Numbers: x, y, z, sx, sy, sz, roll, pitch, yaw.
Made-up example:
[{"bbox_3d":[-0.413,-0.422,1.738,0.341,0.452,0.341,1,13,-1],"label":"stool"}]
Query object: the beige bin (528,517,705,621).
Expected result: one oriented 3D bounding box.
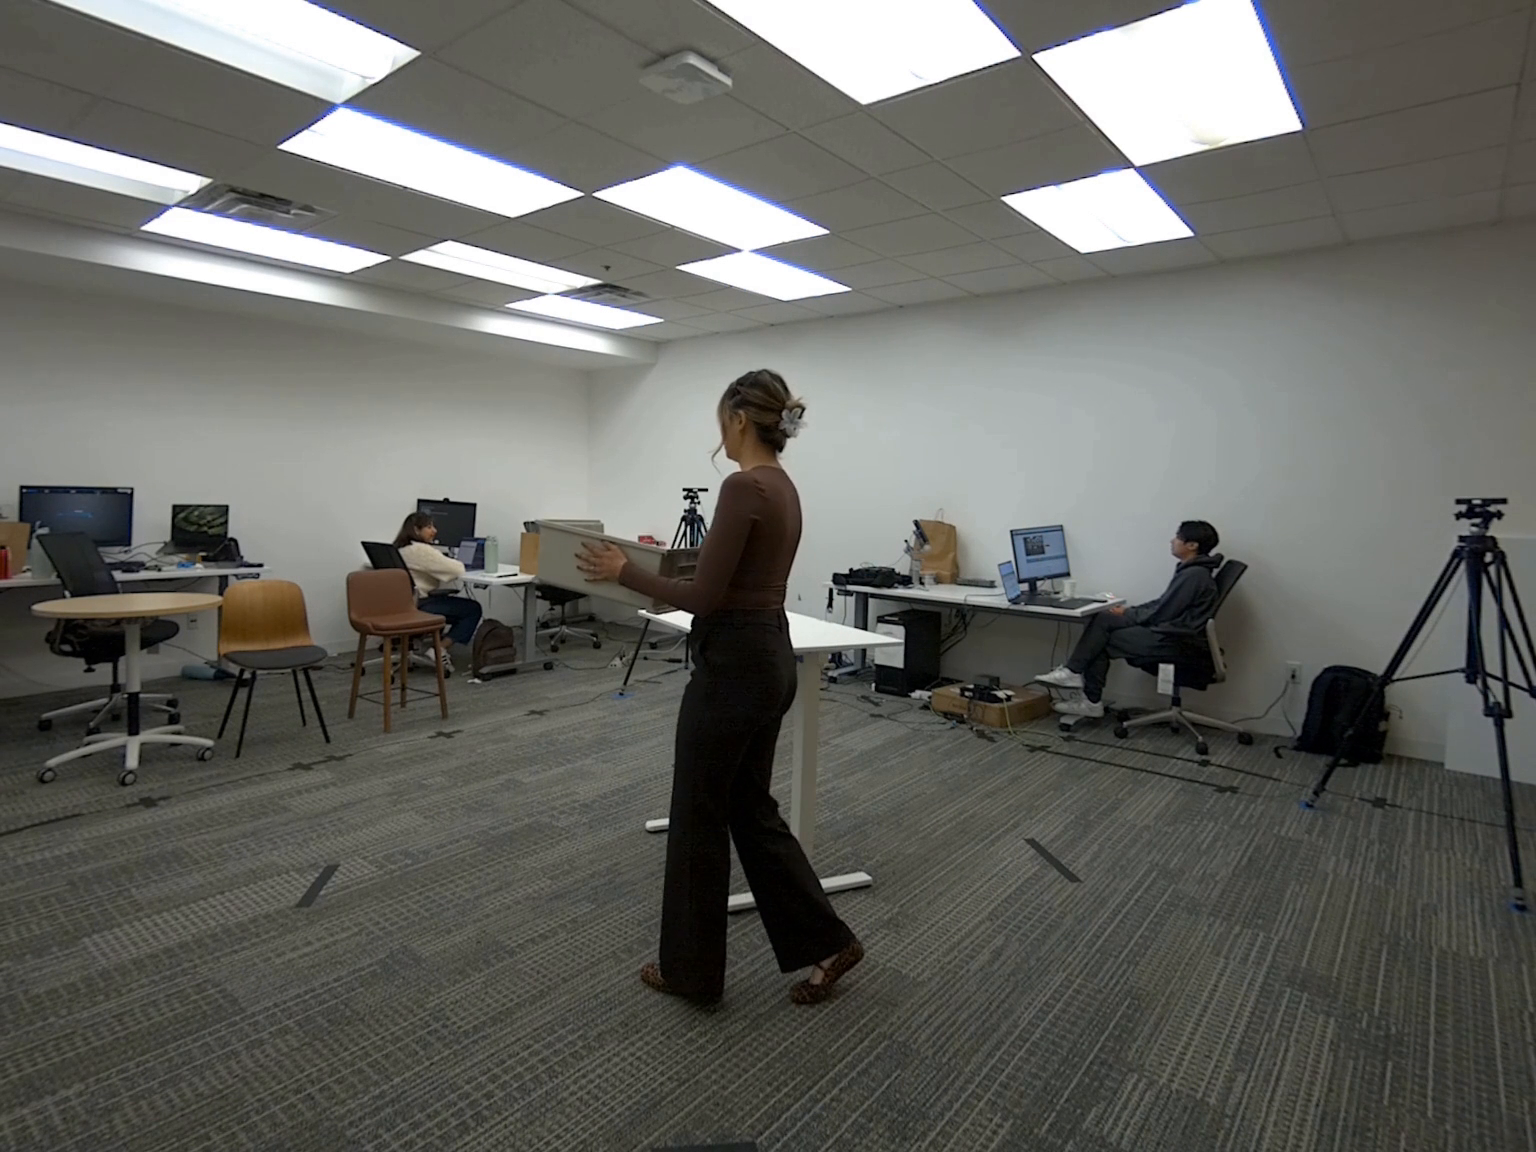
[{"bbox_3d":[-0.406,-0.036,2.475,0.434,0.188,0.369,13,9,22],"label":"beige bin"}]
